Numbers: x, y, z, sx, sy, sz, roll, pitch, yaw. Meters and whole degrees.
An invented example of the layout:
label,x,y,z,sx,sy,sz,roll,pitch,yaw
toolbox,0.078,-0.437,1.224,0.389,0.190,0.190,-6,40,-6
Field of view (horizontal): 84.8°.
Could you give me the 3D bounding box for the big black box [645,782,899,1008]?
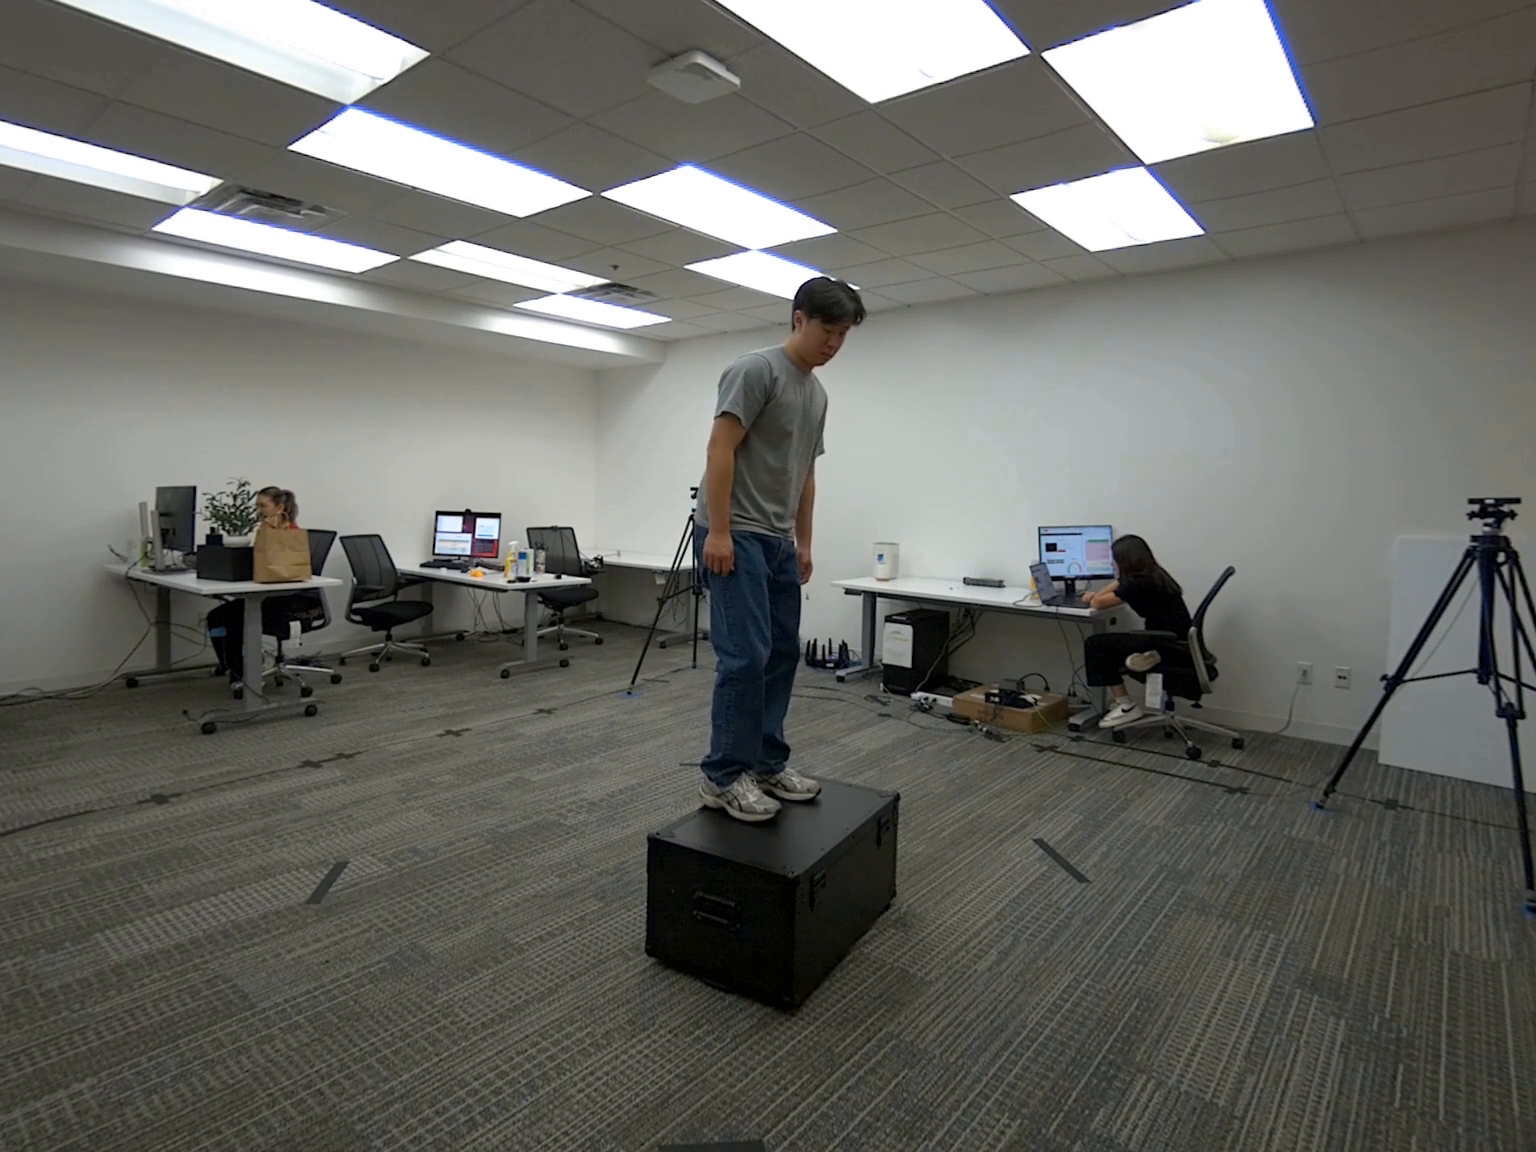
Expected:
label,x,y,z,sx,sy,sz,roll,pitch,yaw
big black box,0.050,0.923,2.698,0.537,0.395,0.840,4,6,30
